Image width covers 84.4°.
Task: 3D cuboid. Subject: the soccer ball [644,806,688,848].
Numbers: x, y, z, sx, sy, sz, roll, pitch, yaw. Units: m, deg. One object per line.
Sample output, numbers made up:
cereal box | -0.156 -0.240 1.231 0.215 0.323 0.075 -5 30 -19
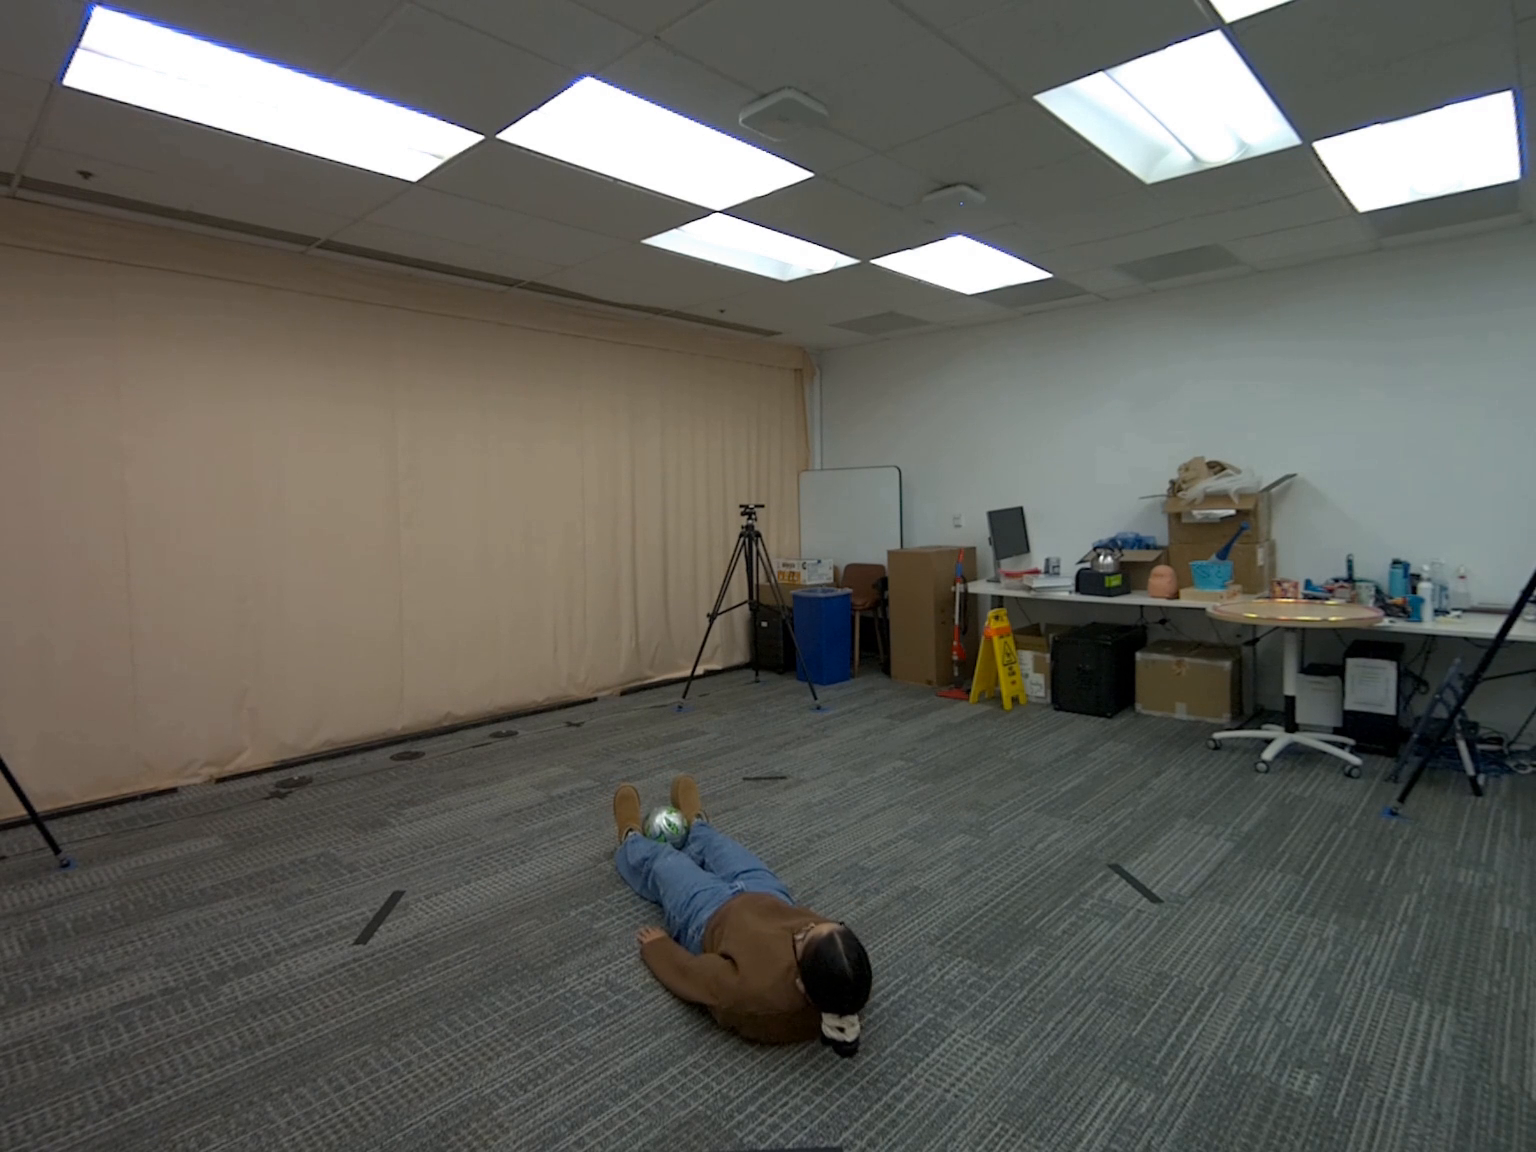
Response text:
soccer ball | -0.412 1.015 3.356 0.187 0.187 0.188 -1 4 -2
